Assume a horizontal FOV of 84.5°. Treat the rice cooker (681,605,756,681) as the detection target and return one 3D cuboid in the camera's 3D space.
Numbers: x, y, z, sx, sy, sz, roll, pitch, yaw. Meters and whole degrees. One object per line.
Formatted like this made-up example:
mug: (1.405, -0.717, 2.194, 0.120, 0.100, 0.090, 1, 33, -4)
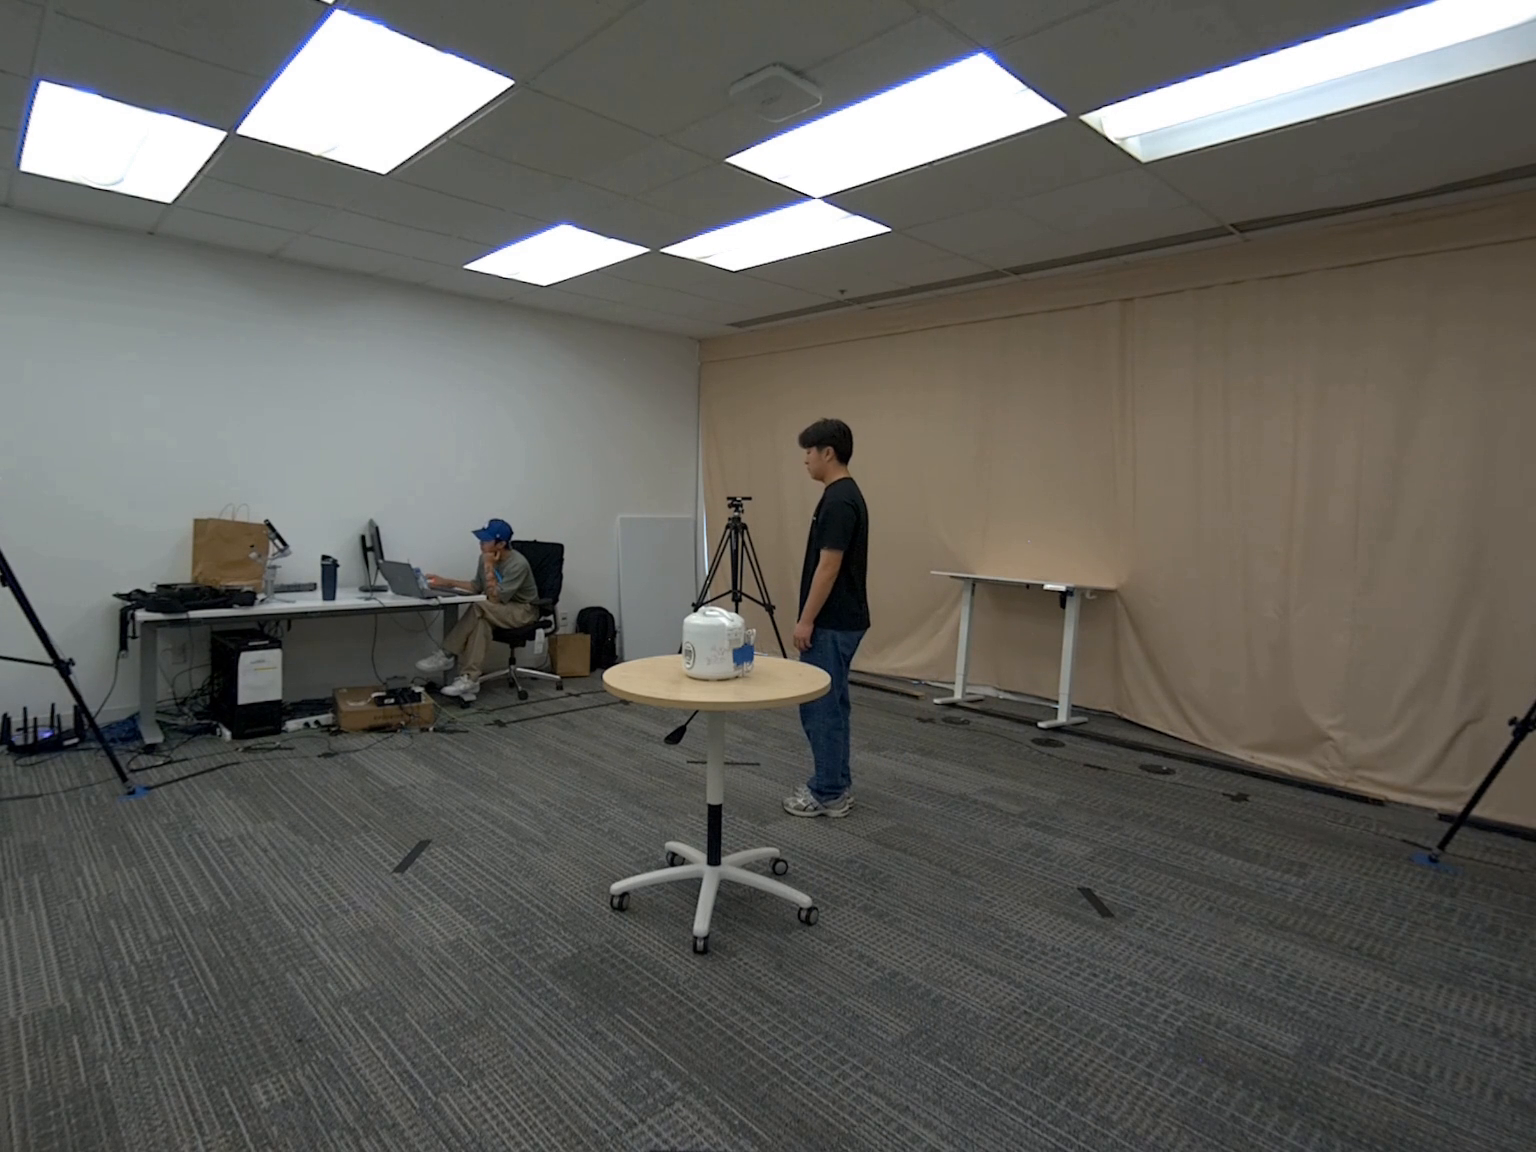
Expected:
rice cooker: (-0.183, 0.221, 2.815, 0.212, 0.232, 0.226, -1, 4, -42)
